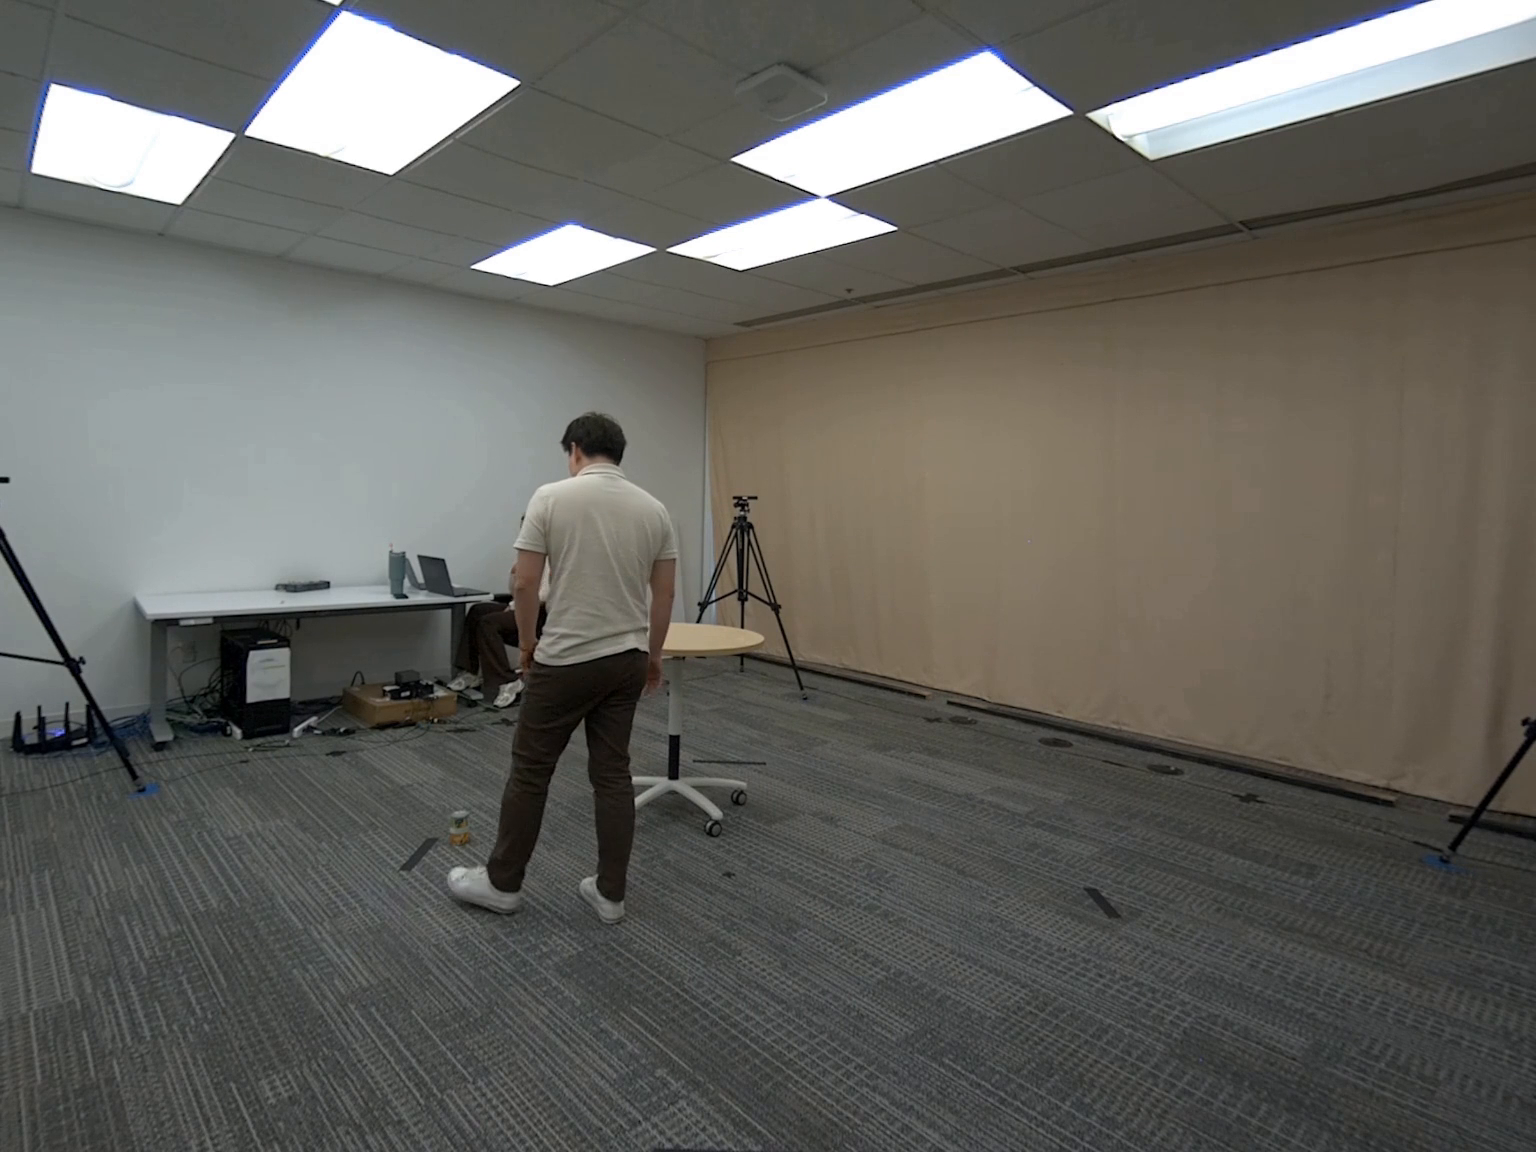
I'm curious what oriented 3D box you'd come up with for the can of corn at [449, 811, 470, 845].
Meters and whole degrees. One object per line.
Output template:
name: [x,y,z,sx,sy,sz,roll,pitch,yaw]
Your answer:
can of corn: [-1.235,1.003,3.344,0.074,0.111,0.074,0,3,-1]
